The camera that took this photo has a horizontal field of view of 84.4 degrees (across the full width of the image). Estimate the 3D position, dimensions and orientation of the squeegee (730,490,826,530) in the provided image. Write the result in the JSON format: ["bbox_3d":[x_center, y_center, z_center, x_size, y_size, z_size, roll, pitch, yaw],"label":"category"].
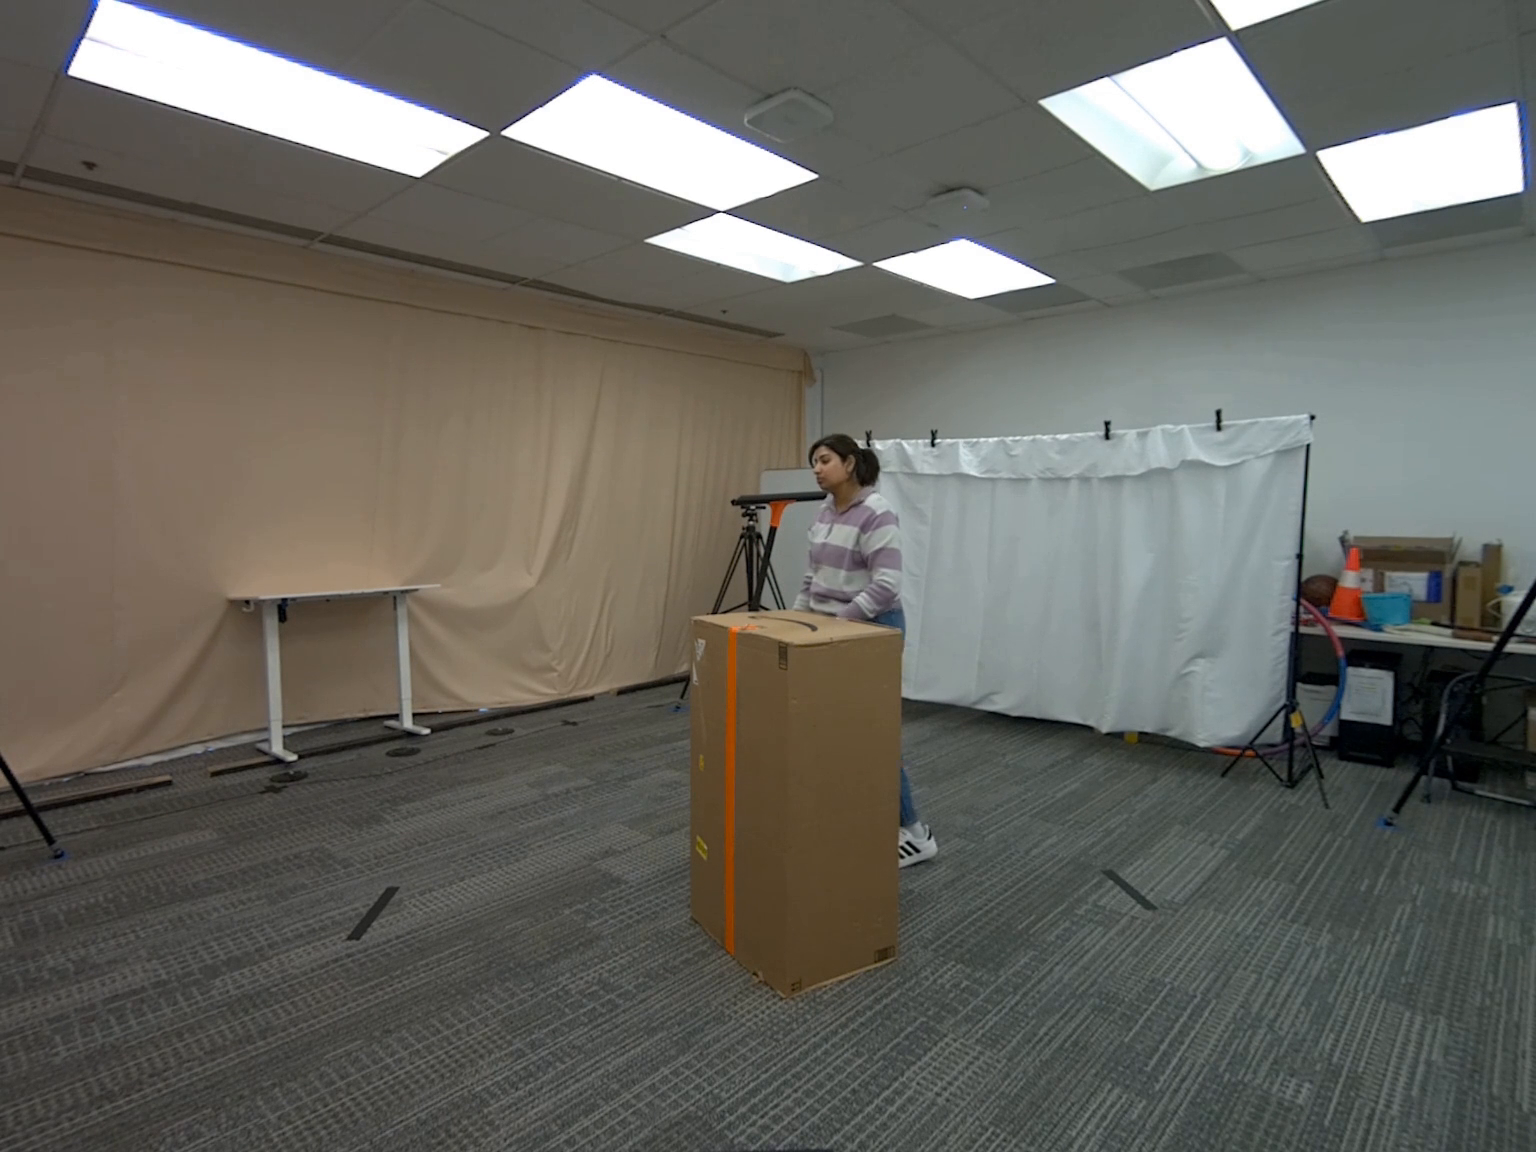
[{"bbox_3d":[-0.126,0.407,3.072,0.424,1.528,0.055,-5,29,-44],"label":"squeegee"}]
